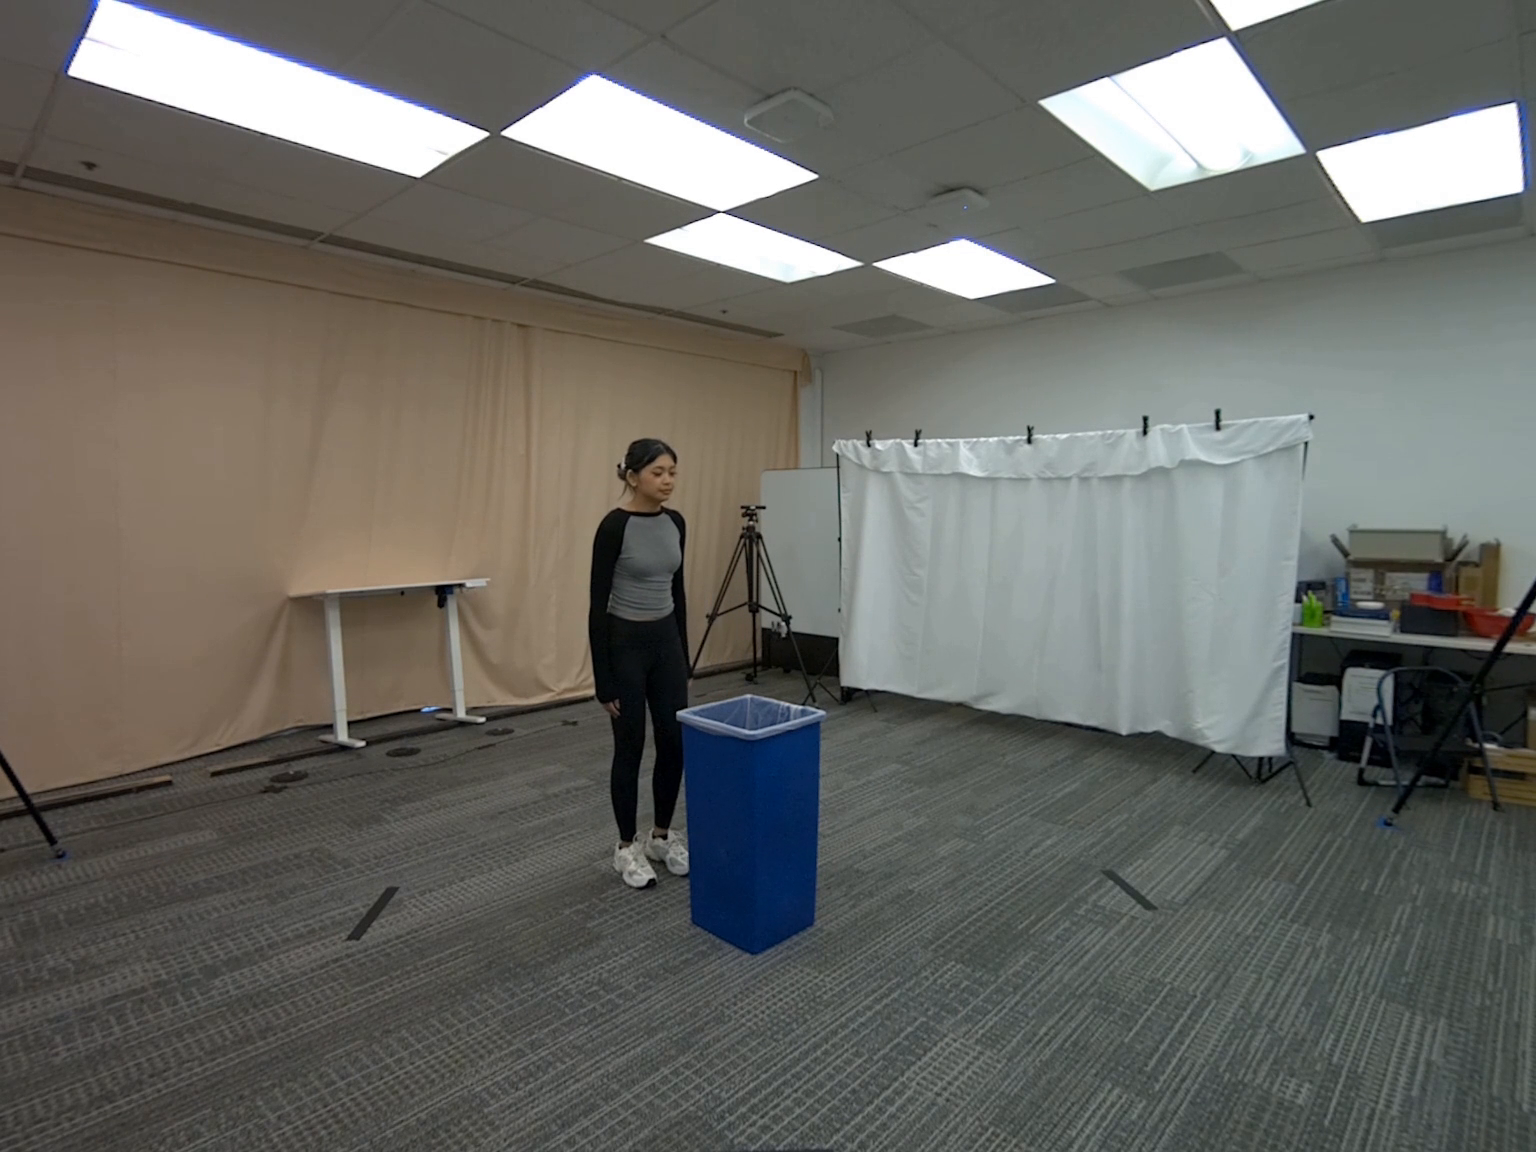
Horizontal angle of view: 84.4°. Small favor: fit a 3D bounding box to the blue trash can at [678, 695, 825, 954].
[{"bbox_3d":[-0.051,0.803,2.785,0.391,0.712,0.362,3,4,44],"label":"blue trash can"}]
